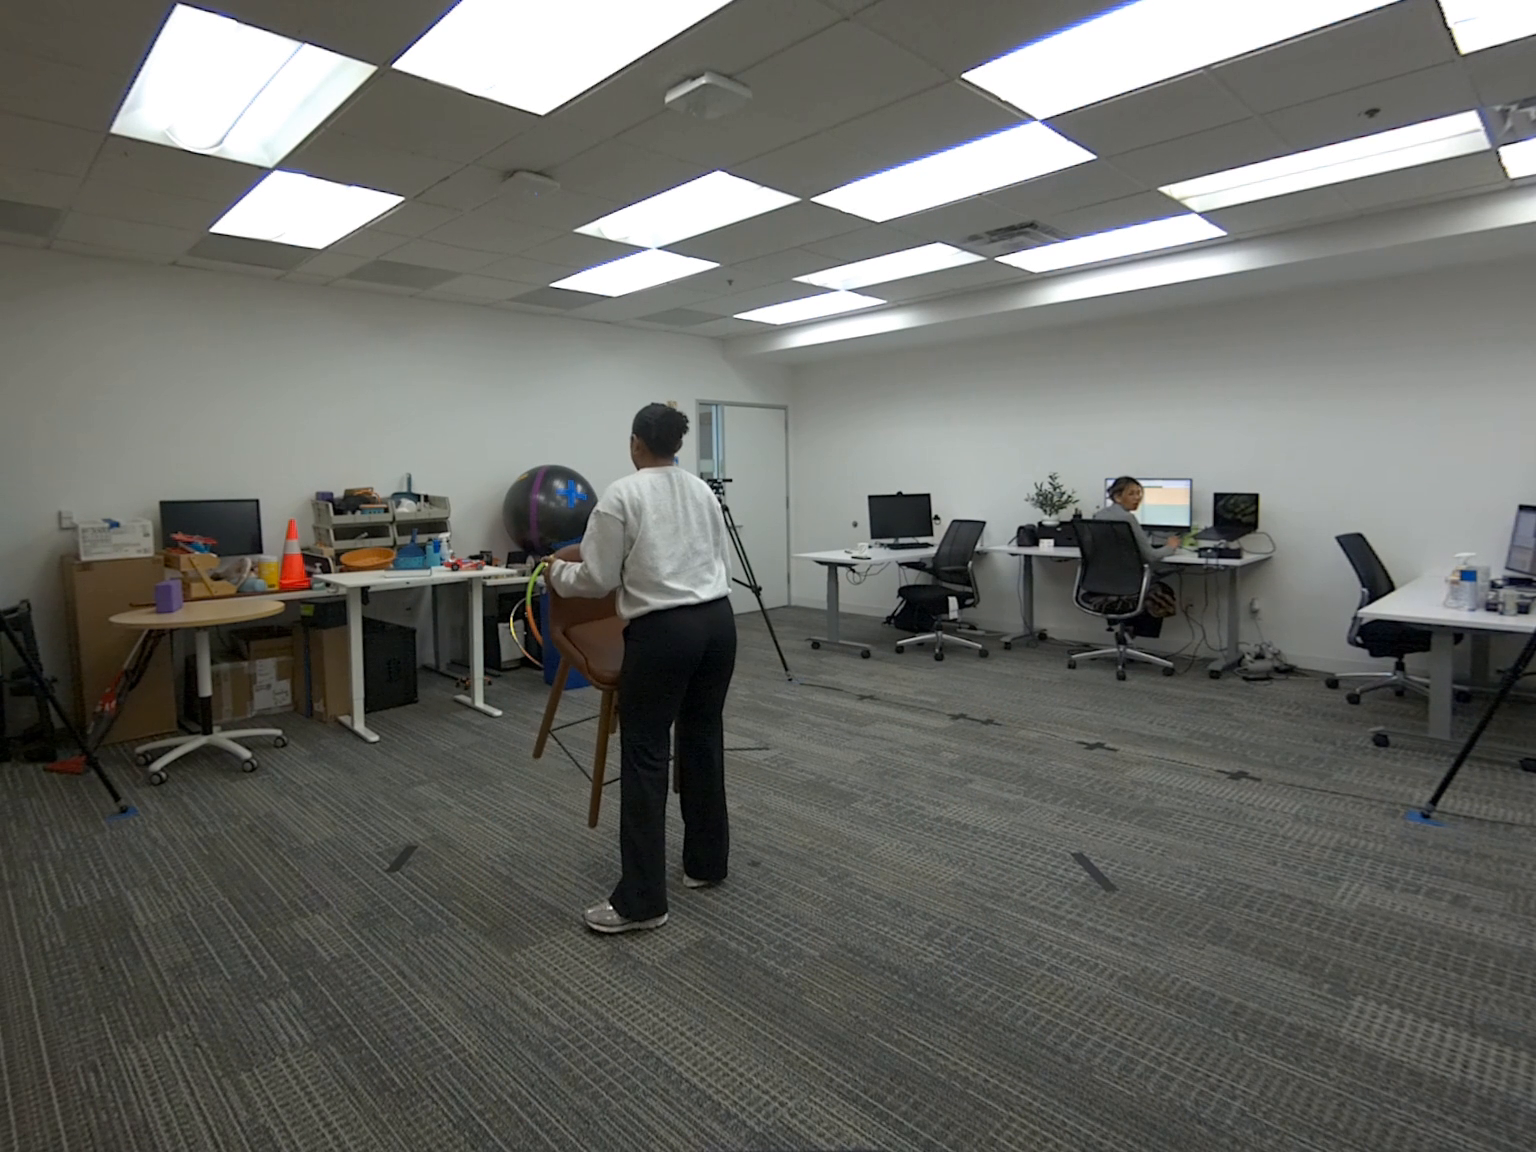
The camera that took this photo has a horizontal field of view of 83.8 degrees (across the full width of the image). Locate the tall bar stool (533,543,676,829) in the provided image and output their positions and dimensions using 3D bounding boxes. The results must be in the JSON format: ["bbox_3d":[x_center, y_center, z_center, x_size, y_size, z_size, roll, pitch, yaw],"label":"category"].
[{"bbox_3d":[-0.555,0.366,3.105,0.446,0.877,0.486,-10,28,-43],"label":"tall bar stool"}]
